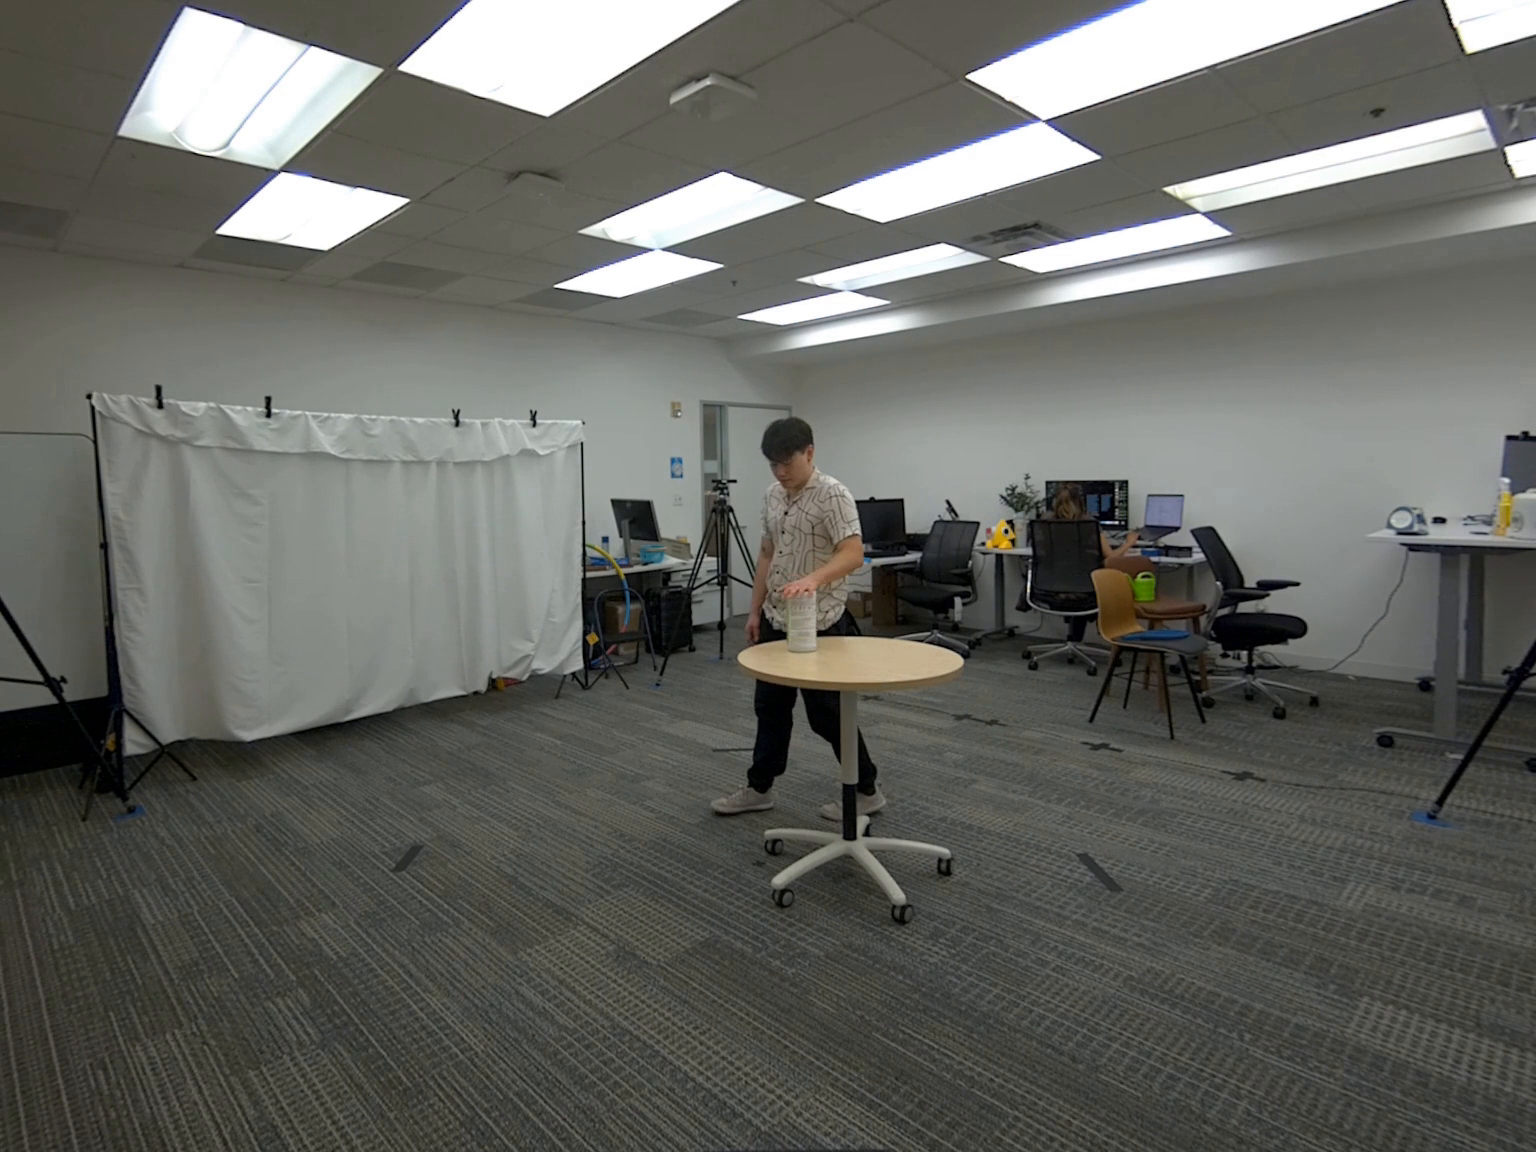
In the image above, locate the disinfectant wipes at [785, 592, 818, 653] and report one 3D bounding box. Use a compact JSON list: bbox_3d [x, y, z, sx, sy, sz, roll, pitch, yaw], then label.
[{"bbox_3d":[0.122,0.166,3.074,0.118,0.217,0.118,-2,2,-2],"label":"disinfectant wipes"}]
